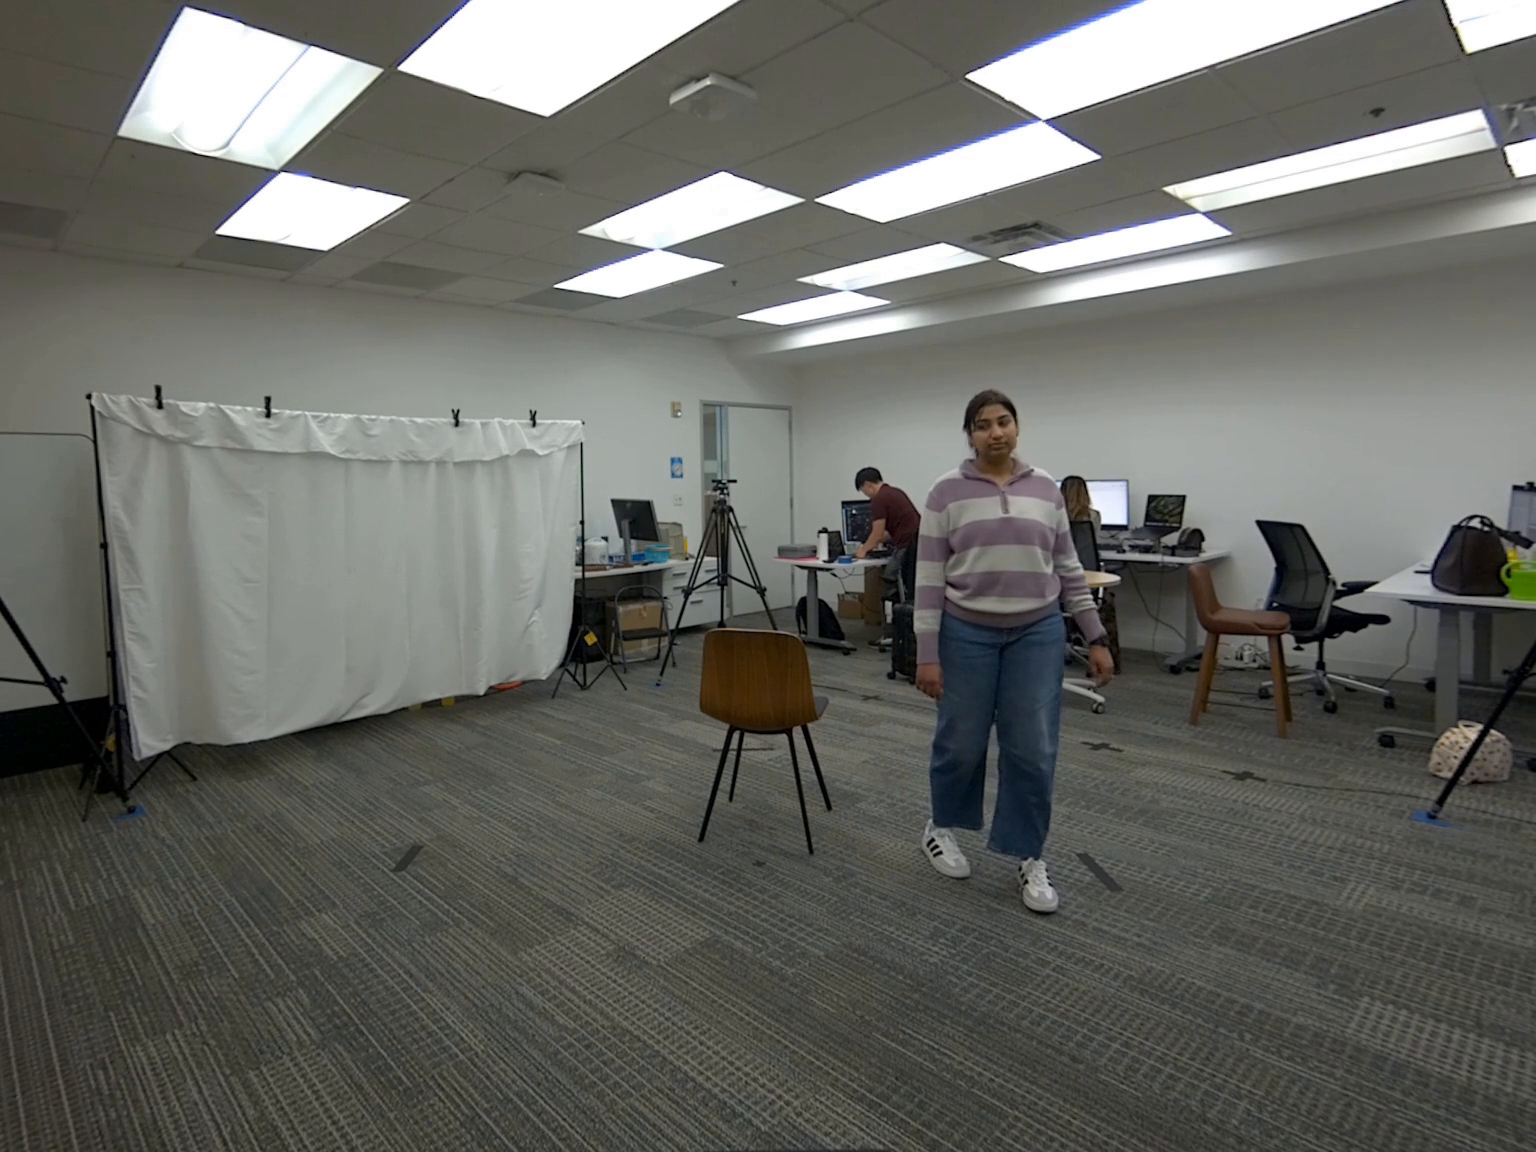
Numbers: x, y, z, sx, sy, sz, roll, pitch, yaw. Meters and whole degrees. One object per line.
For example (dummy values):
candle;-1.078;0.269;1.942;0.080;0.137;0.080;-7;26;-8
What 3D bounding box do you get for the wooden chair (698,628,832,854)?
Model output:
wooden chair;-0.004;0.584;3.431;0.485;0.871;0.519;0;8;15
